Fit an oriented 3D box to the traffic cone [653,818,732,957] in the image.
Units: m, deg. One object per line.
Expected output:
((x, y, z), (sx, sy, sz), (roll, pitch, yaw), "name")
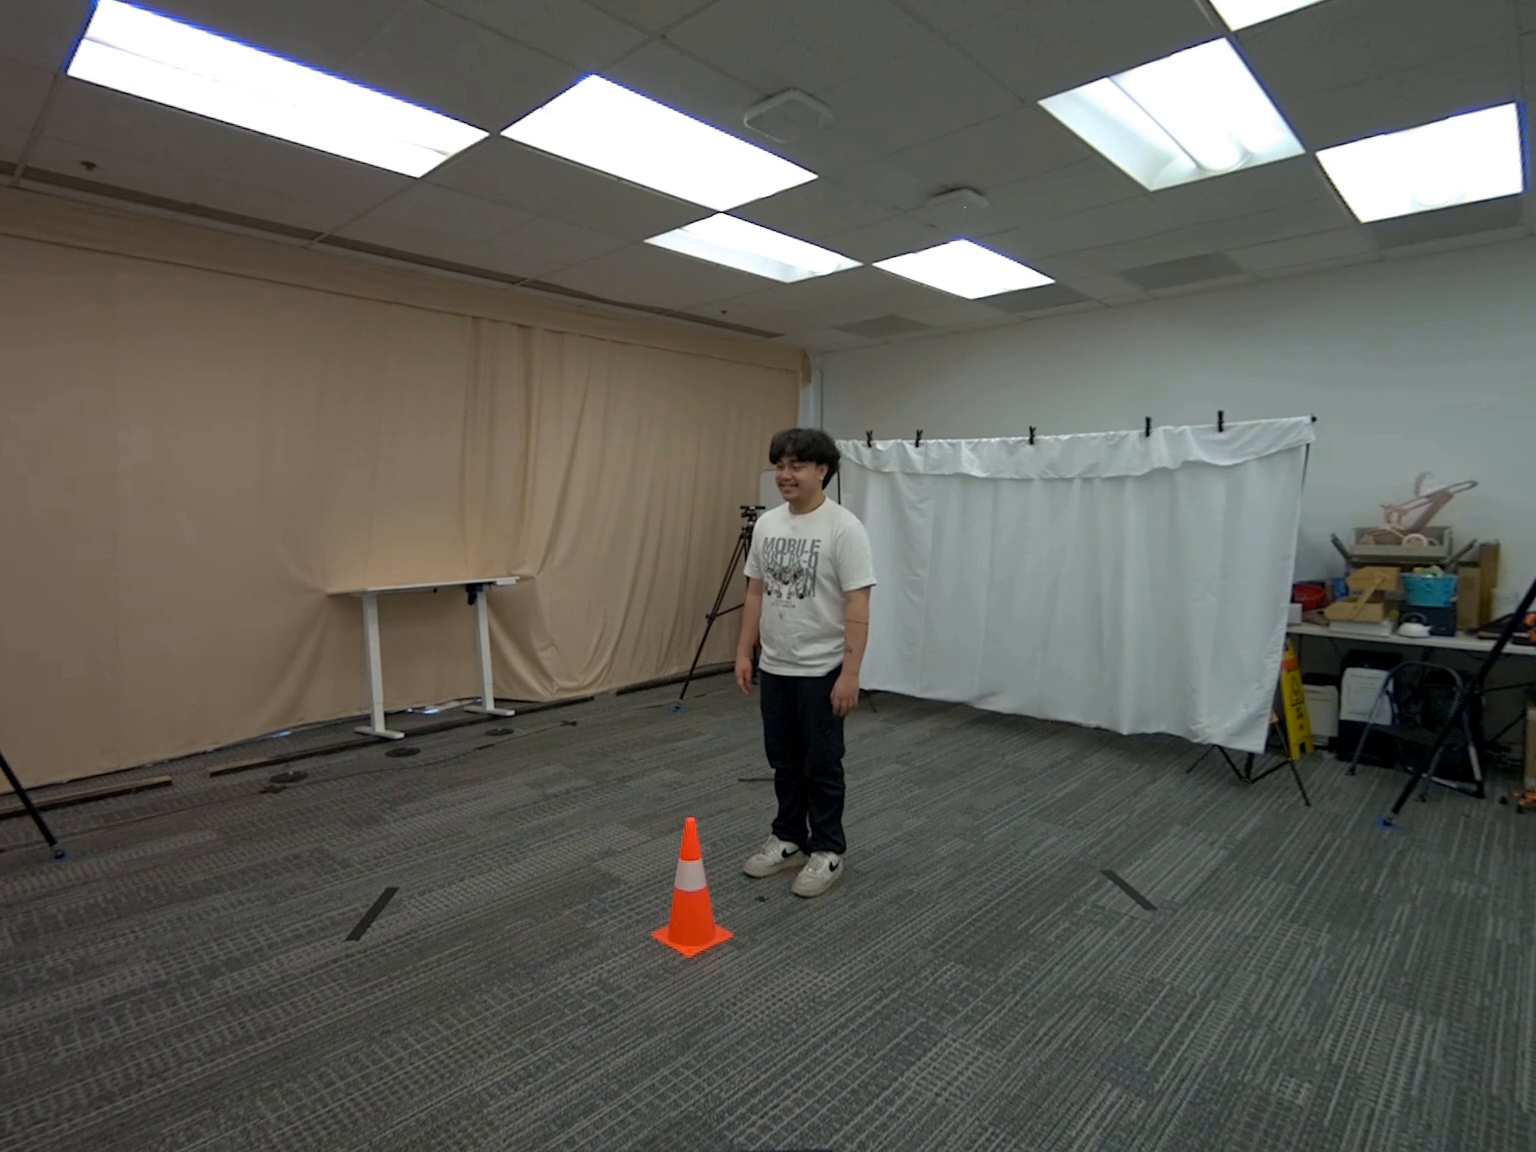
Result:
((-0.250, 0.978, 2.724), (0.197, 0.383, 0.212), (-3, 3, -42), "traffic cone")
